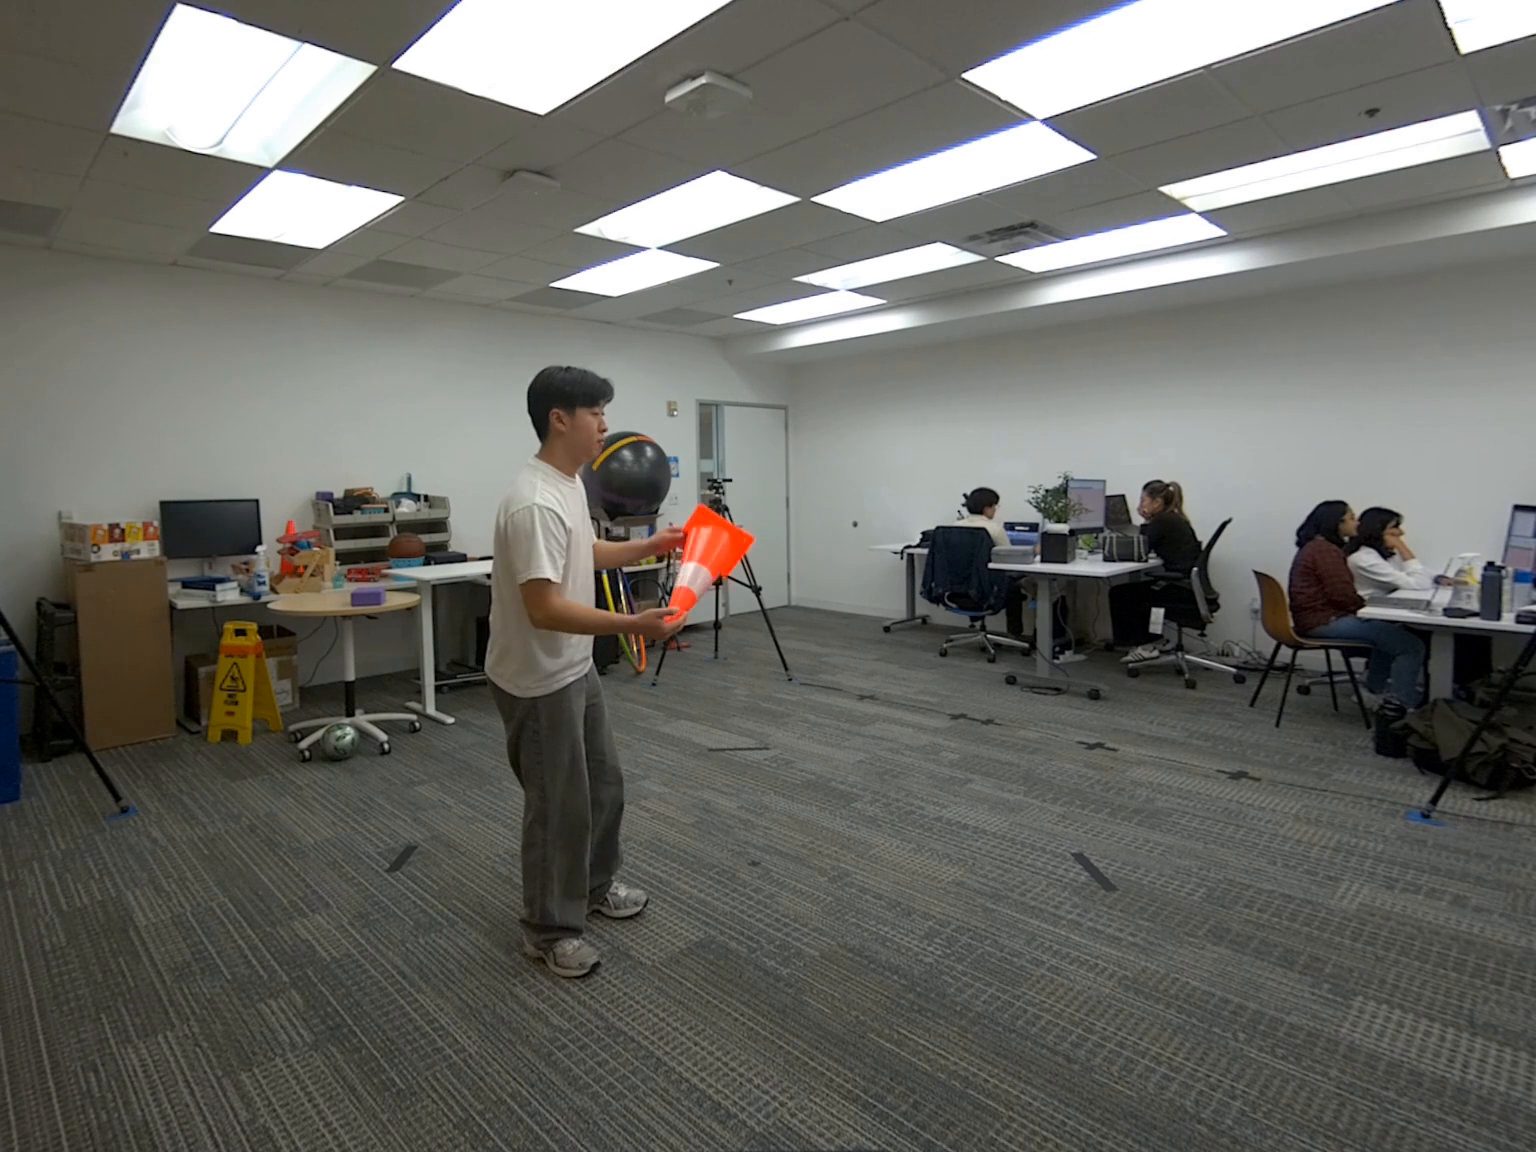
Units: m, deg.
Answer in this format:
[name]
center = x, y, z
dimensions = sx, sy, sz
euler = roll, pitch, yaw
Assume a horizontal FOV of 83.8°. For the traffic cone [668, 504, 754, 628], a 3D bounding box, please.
[traffic cone]
center = -0.219, 0.029, 2.423
dimensions = 0.203, 0.202, 0.389
euler = 30, 42, -8
